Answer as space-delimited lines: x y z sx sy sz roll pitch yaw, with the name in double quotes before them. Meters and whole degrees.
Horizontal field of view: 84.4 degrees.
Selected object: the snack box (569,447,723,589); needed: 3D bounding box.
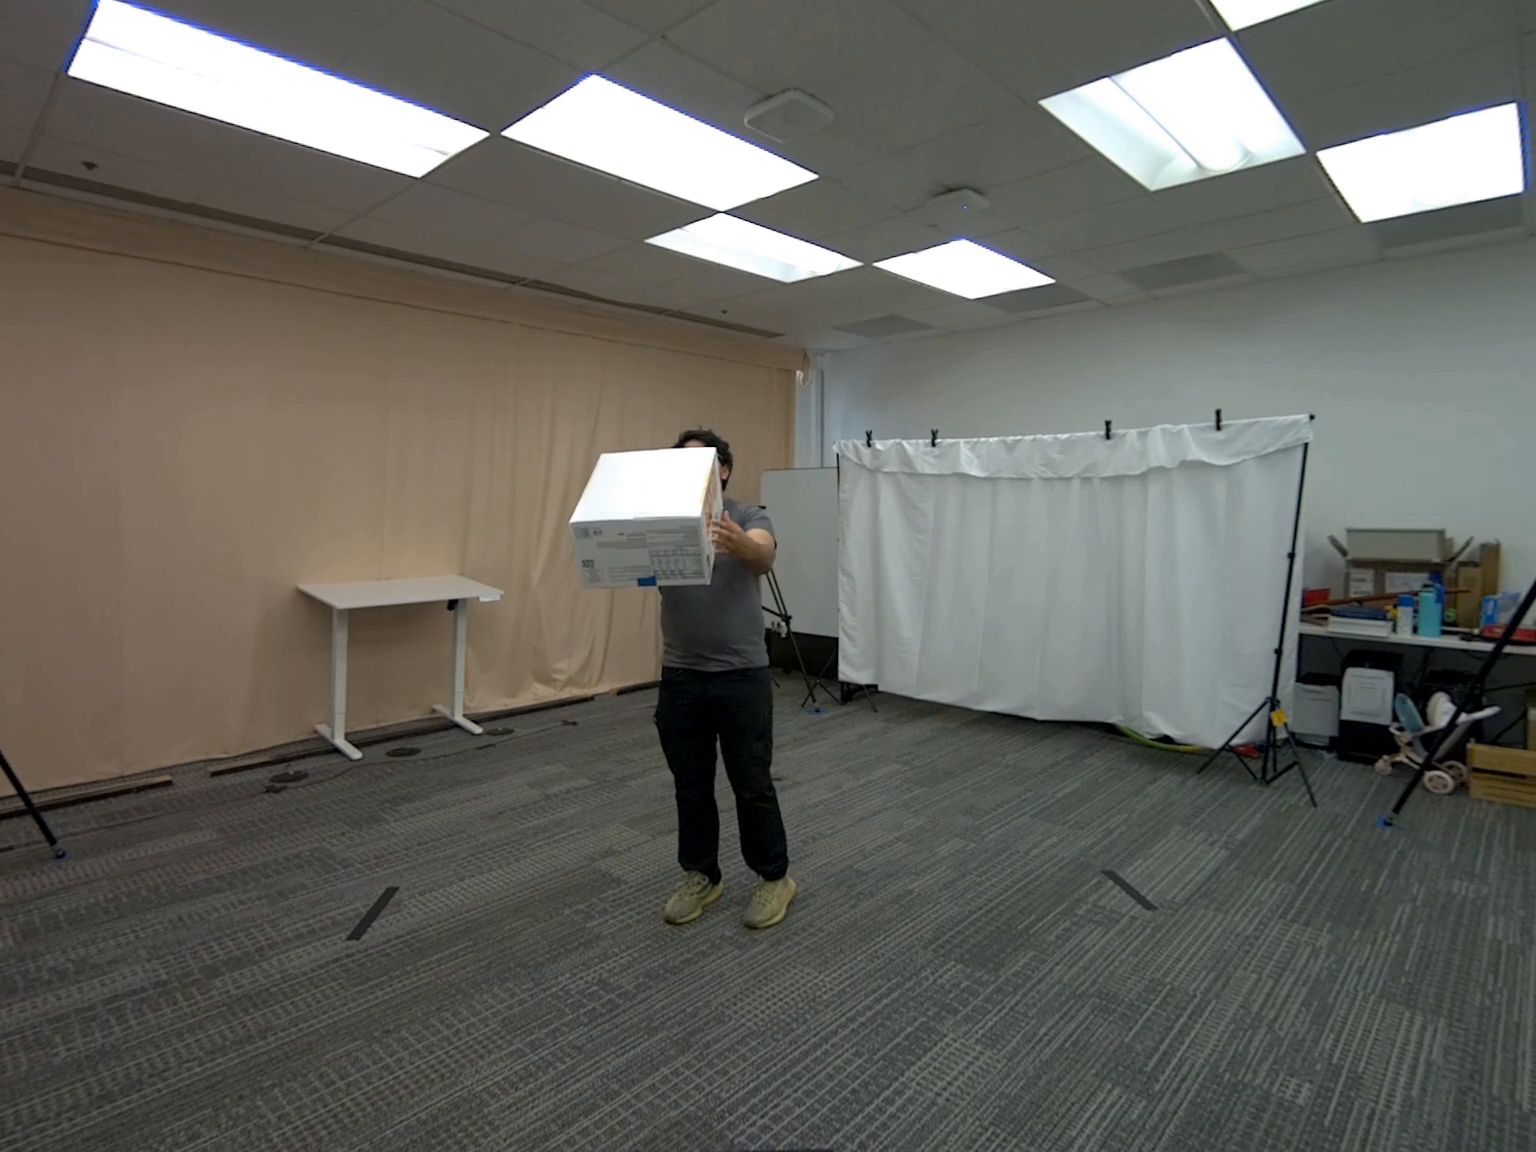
"snack box" -0.313 -0.165 2.294 0.343 0.202 0.410 -2 32 6
